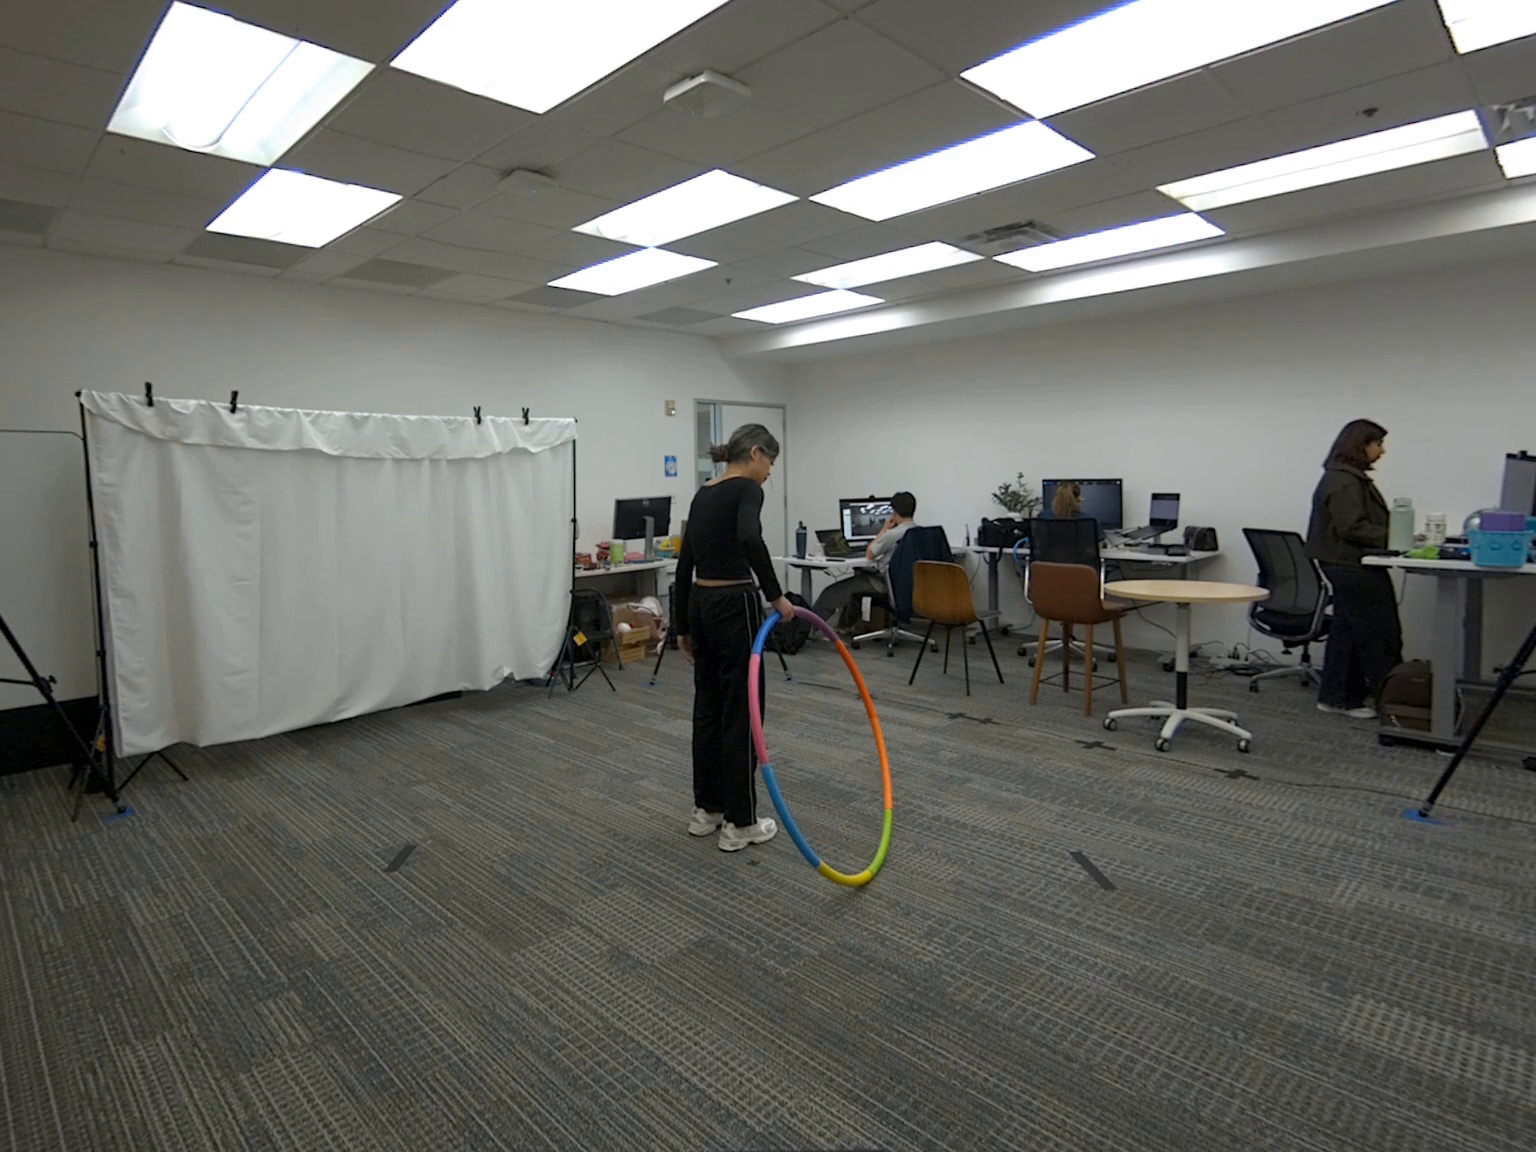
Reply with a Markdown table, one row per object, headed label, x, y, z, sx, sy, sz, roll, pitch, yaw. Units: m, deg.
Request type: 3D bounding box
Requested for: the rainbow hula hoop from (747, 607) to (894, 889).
| label | x | y | z | sx | sy | sz | roll | pitch | yaw |
| --- | --- | --- | --- | --- | --- | --- | --- | --- | --- |
| rainbow hula hoop | 0.206 | 0.576 | 3.052 | 0.036 | 0.987 | 0.959 | -24 | -6 | 26 |
